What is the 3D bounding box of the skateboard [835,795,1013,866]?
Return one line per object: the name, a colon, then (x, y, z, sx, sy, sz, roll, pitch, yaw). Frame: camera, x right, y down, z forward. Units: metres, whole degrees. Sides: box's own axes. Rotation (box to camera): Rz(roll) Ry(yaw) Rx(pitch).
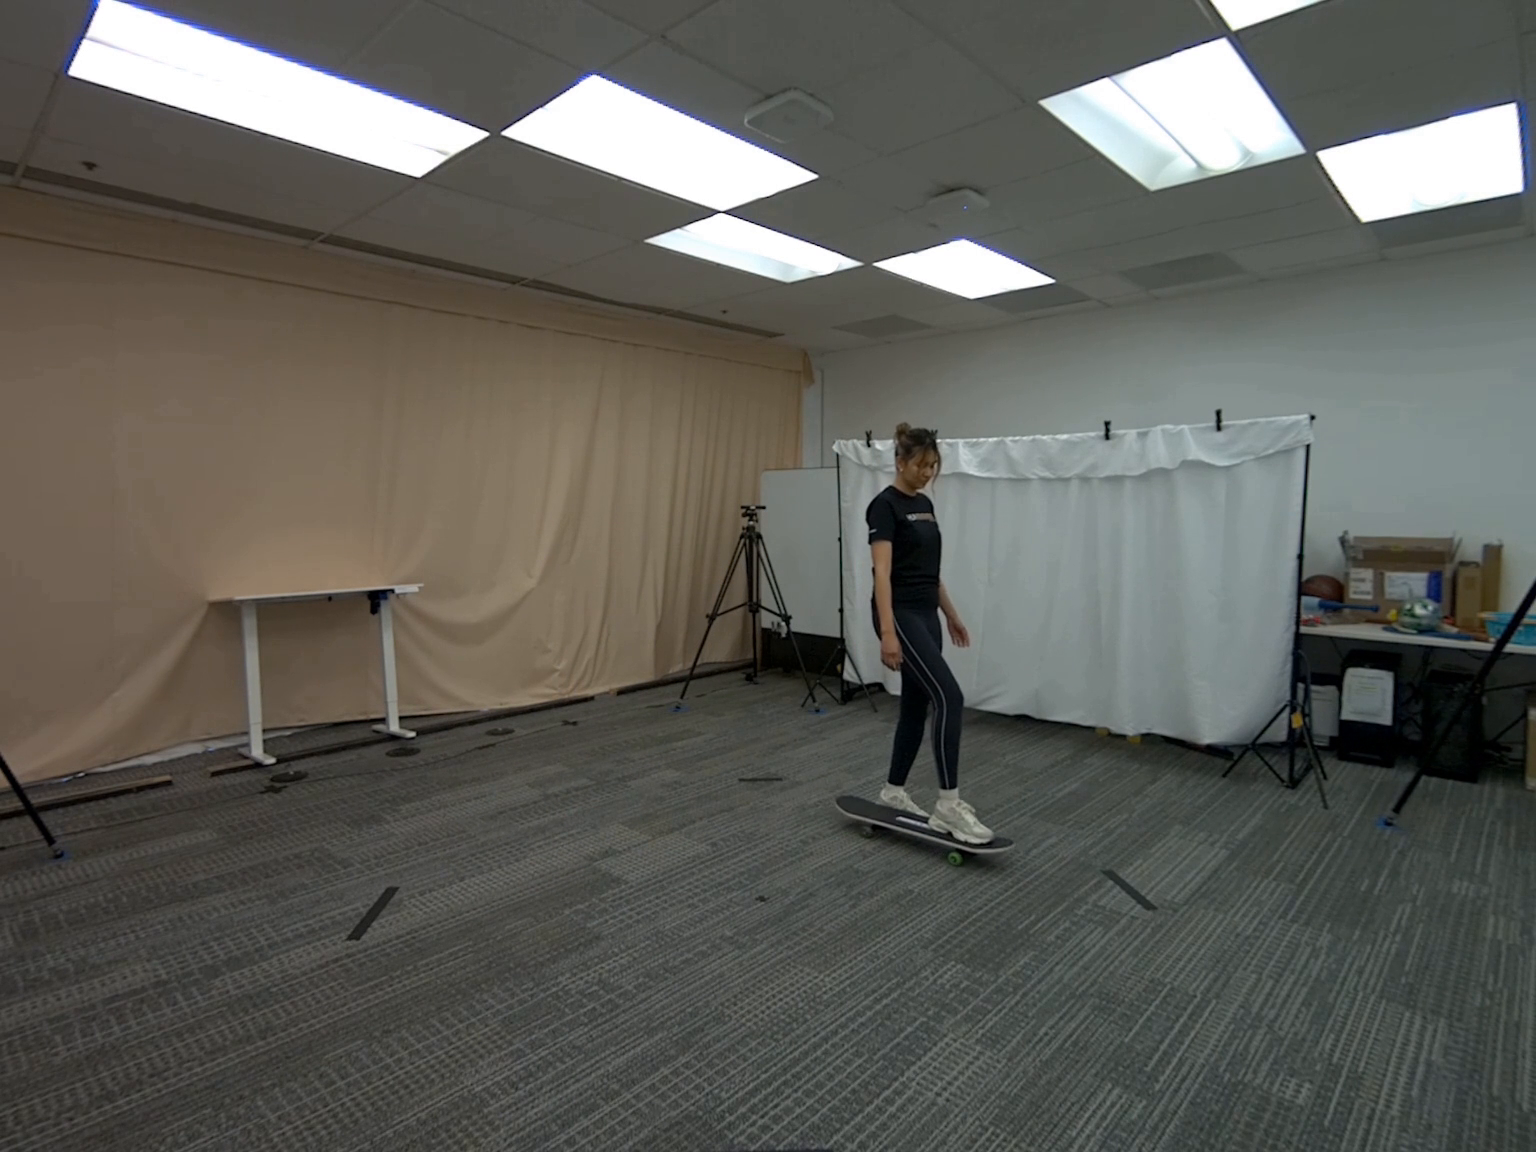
skateboard: (0.621, 1.049, 3.459, 0.812, 0.110, 0.187, 4, 4, 41)
